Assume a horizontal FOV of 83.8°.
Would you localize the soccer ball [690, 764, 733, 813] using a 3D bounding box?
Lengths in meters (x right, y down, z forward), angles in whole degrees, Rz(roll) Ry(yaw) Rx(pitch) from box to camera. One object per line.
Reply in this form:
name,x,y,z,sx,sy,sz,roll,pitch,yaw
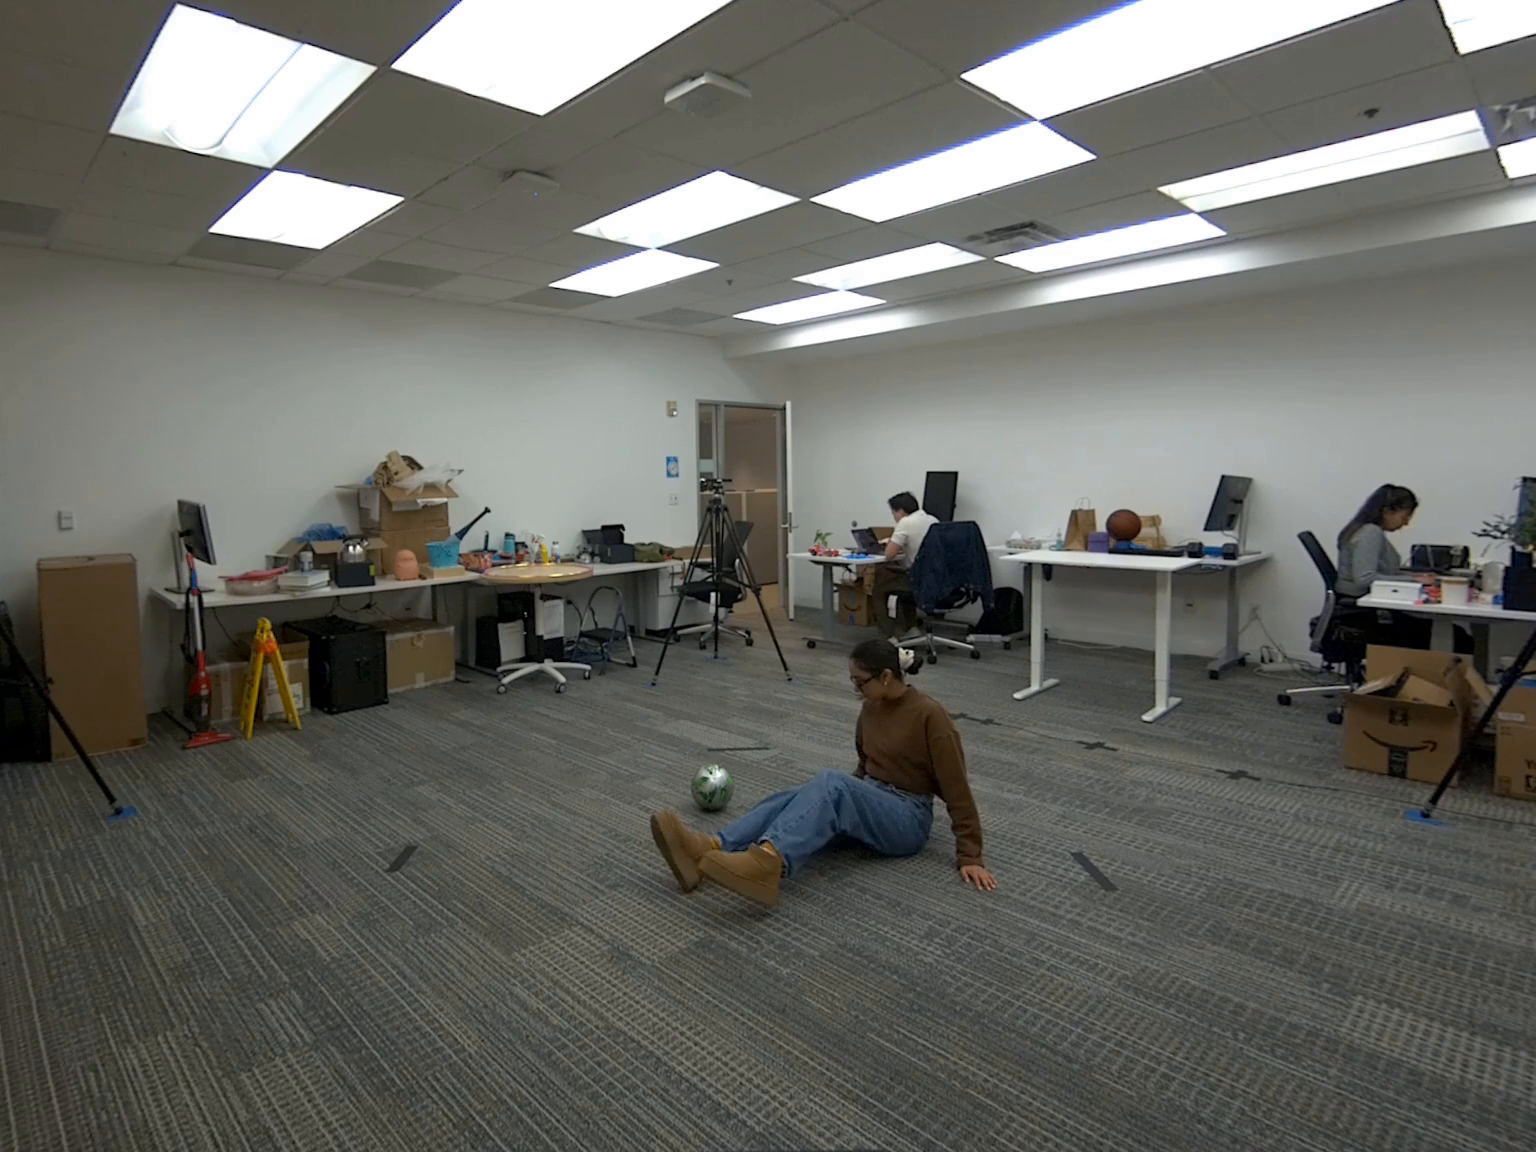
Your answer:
soccer ball,-0.232,0.895,3.628,0.187,0.187,0.188,-1,5,-2
